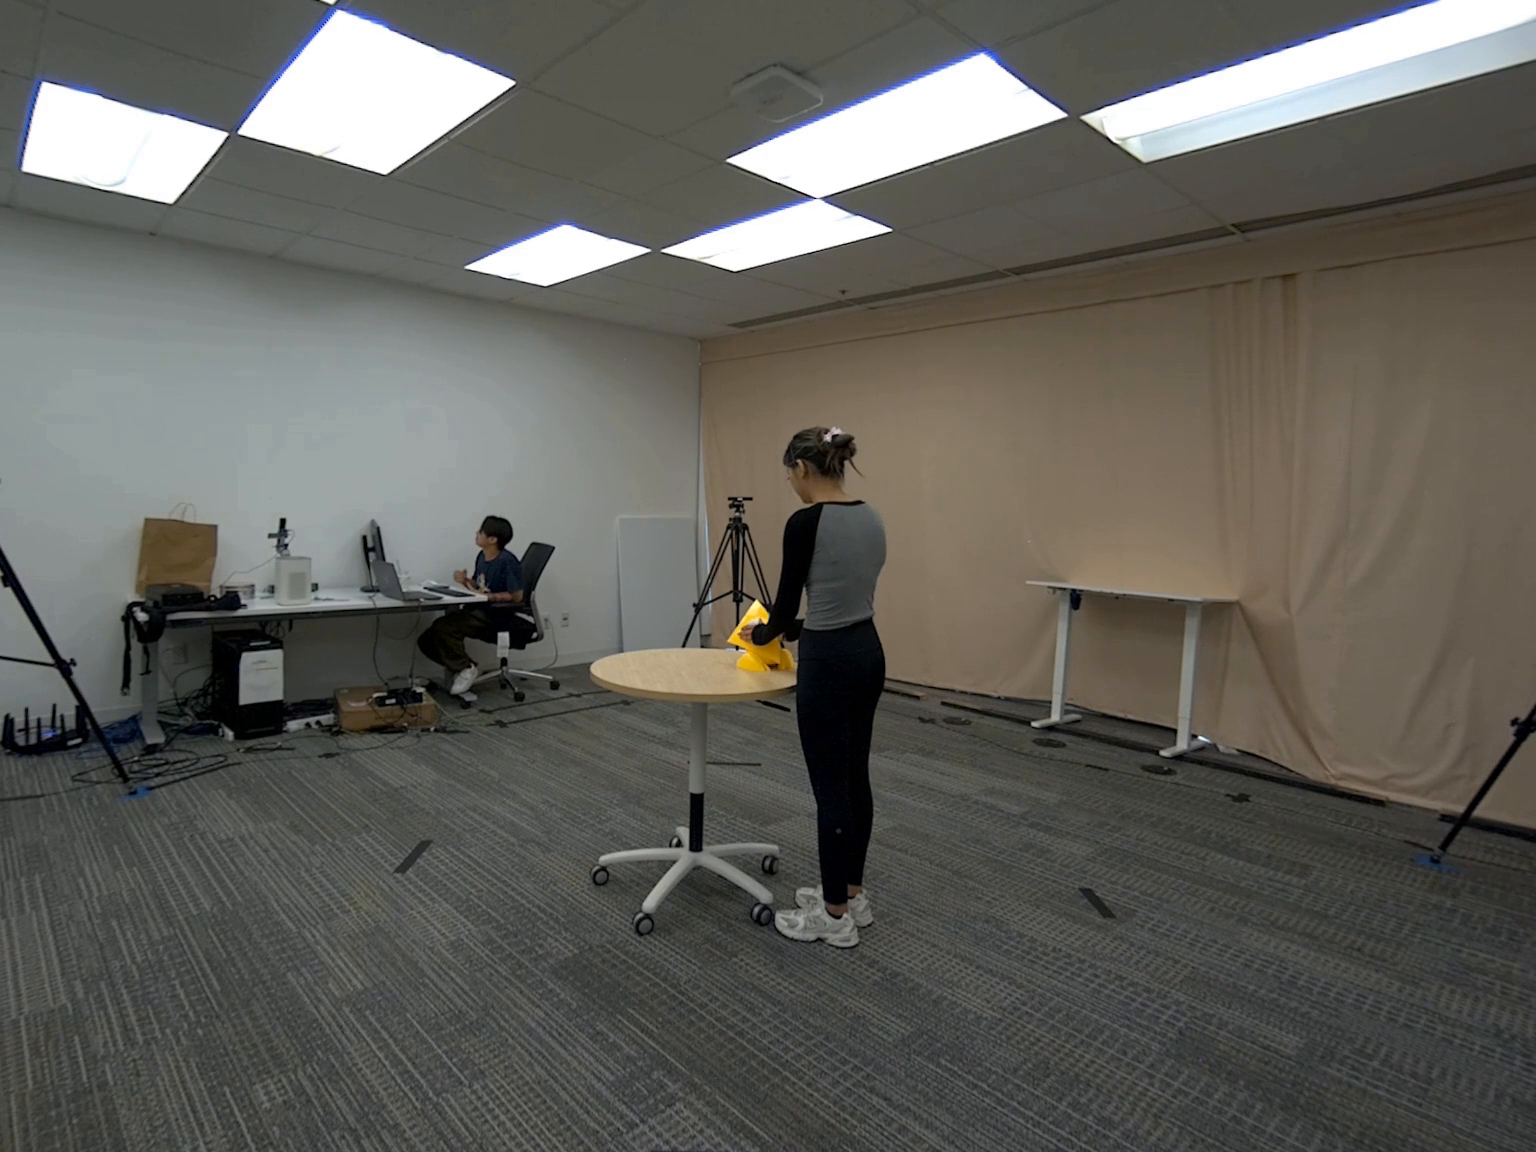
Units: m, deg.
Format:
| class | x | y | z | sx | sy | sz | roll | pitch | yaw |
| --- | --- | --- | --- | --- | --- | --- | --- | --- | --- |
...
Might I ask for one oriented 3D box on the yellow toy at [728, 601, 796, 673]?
| class | x | y | z | sx | sy | sz | roll | pitch | yaw |
| --- | --- | --- | --- | --- | --- | --- | --- | --- | --- |
| yellow toy | -0.018 | 0.214 | 3.021 | 0.200 | 0.230 | 0.198 | -2 | 7 | -35 |
